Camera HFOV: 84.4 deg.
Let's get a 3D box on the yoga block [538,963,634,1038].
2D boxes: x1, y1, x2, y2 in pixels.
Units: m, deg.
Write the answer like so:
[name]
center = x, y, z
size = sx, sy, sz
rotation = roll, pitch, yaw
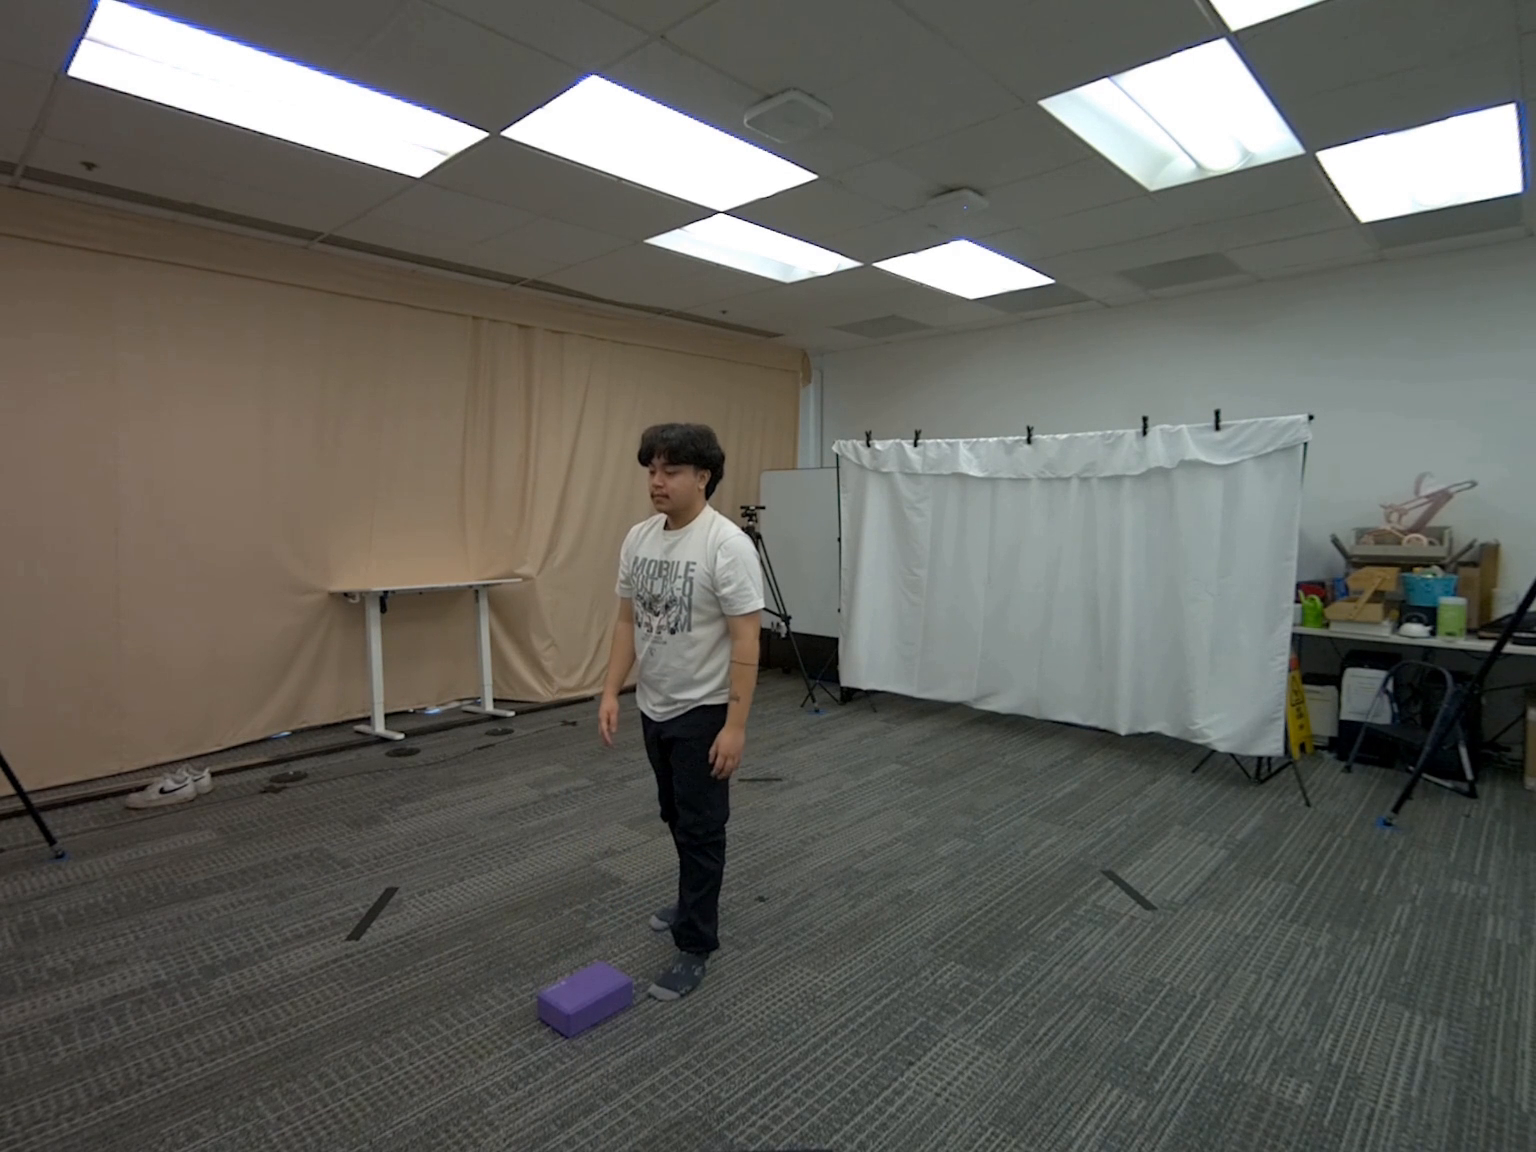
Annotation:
[yoga block]
center = -0.498, 1.161, 2.322
size = 0.154, 0.076, 0.222
rotation = 5, 7, 41
